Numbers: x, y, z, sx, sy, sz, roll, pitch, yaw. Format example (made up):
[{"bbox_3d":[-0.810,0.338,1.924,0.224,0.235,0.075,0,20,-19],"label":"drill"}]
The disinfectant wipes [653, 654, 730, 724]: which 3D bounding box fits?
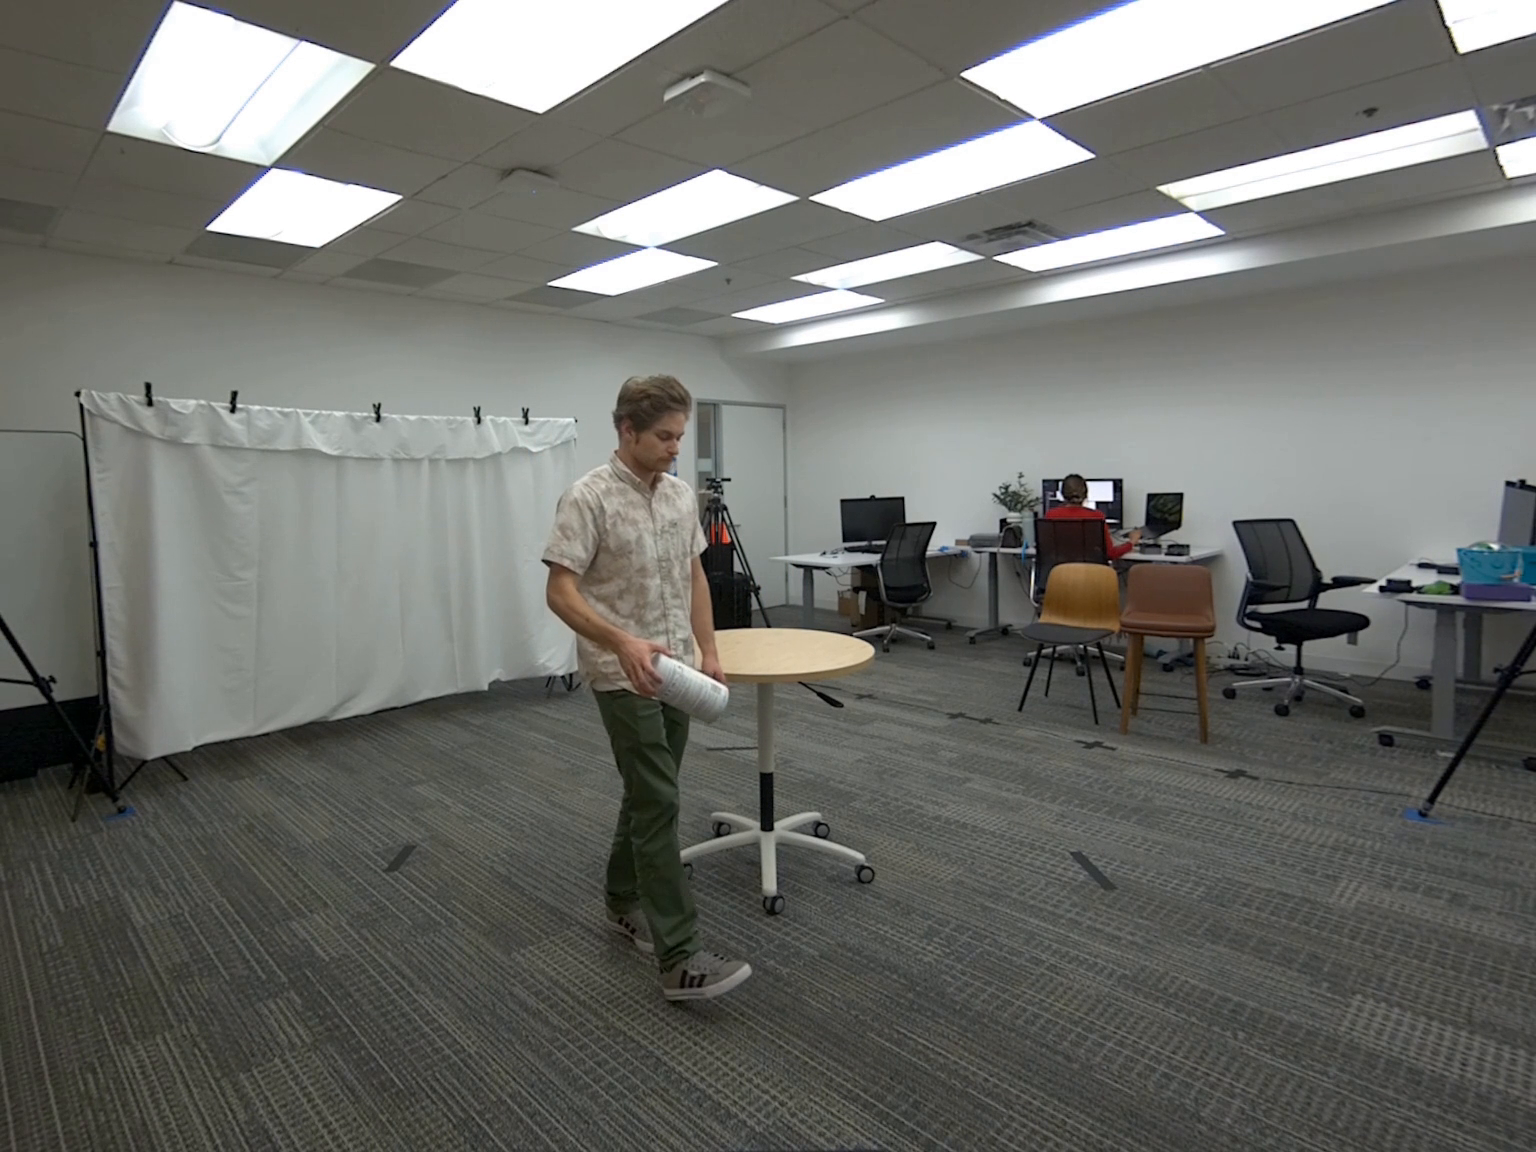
[{"bbox_3d":[-0.209,0.291,2.209,0.212,0.118,0.120,30,-6,-19],"label":"disinfectant wipes"}]
